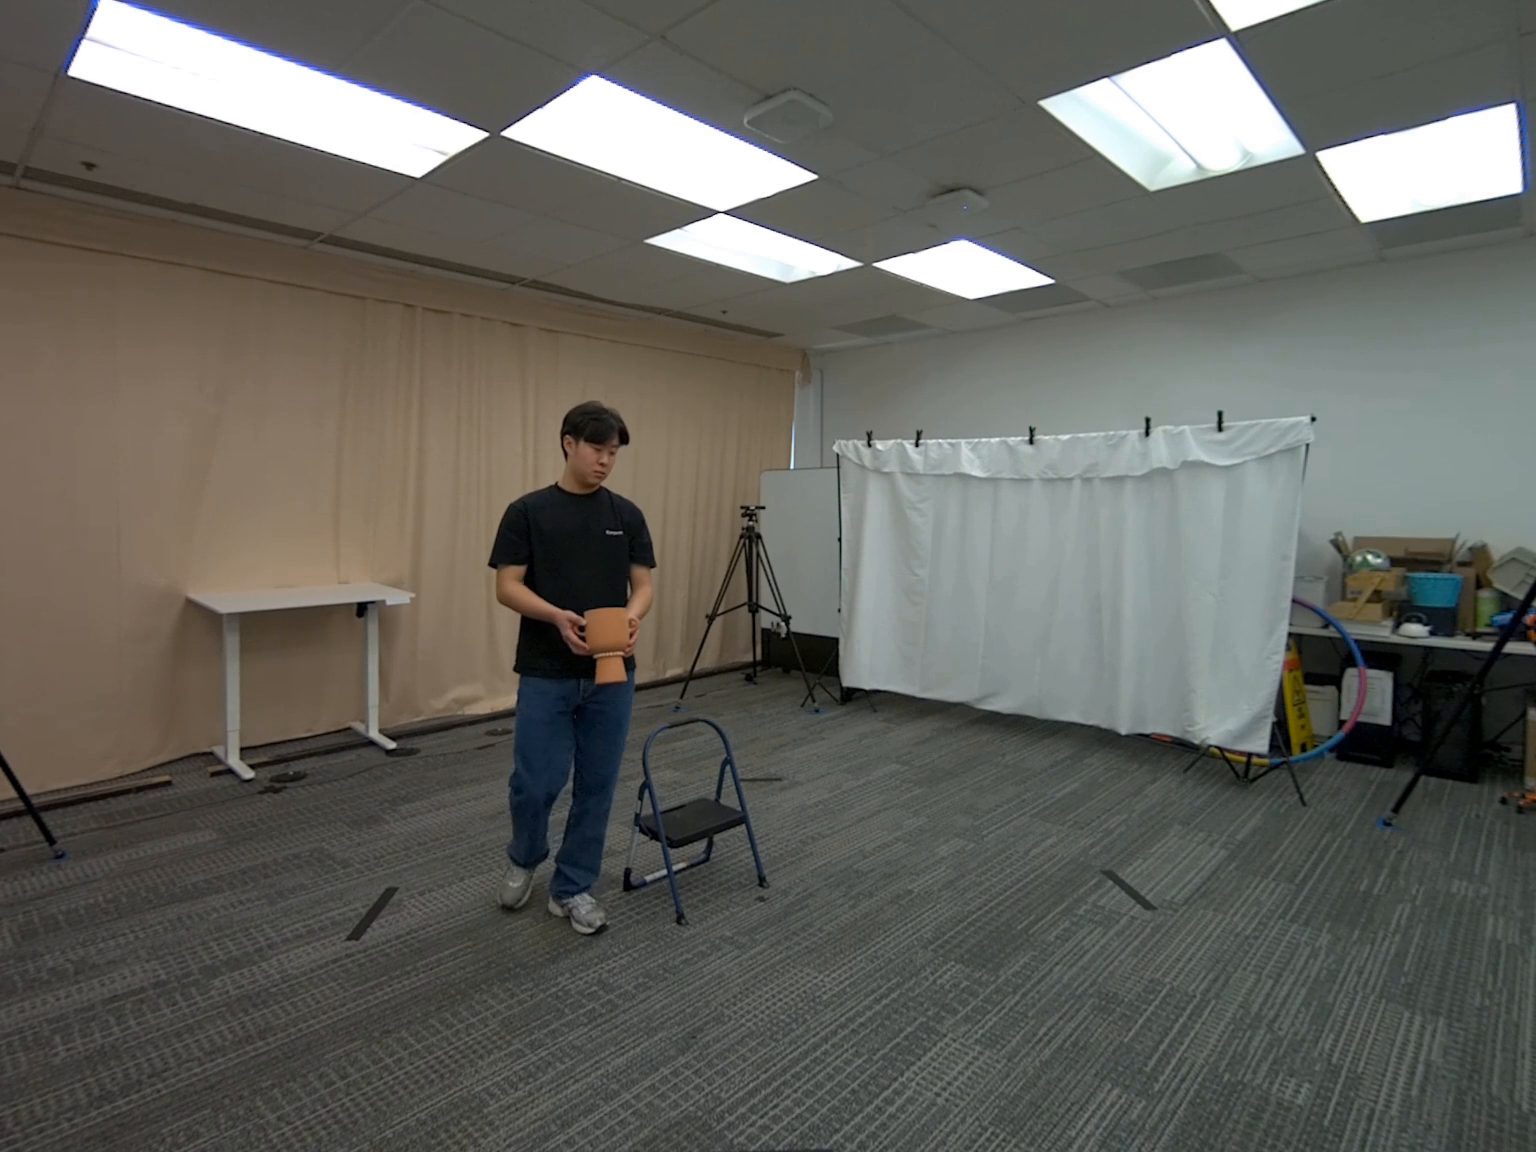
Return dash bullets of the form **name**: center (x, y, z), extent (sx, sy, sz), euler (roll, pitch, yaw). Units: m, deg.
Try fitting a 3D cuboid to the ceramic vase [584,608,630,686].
- **ceramic vase**: center (-0.489, 0.215, 2.571), extent (0.162, 0.221, 0.130), euler (-11, -10, 29)
